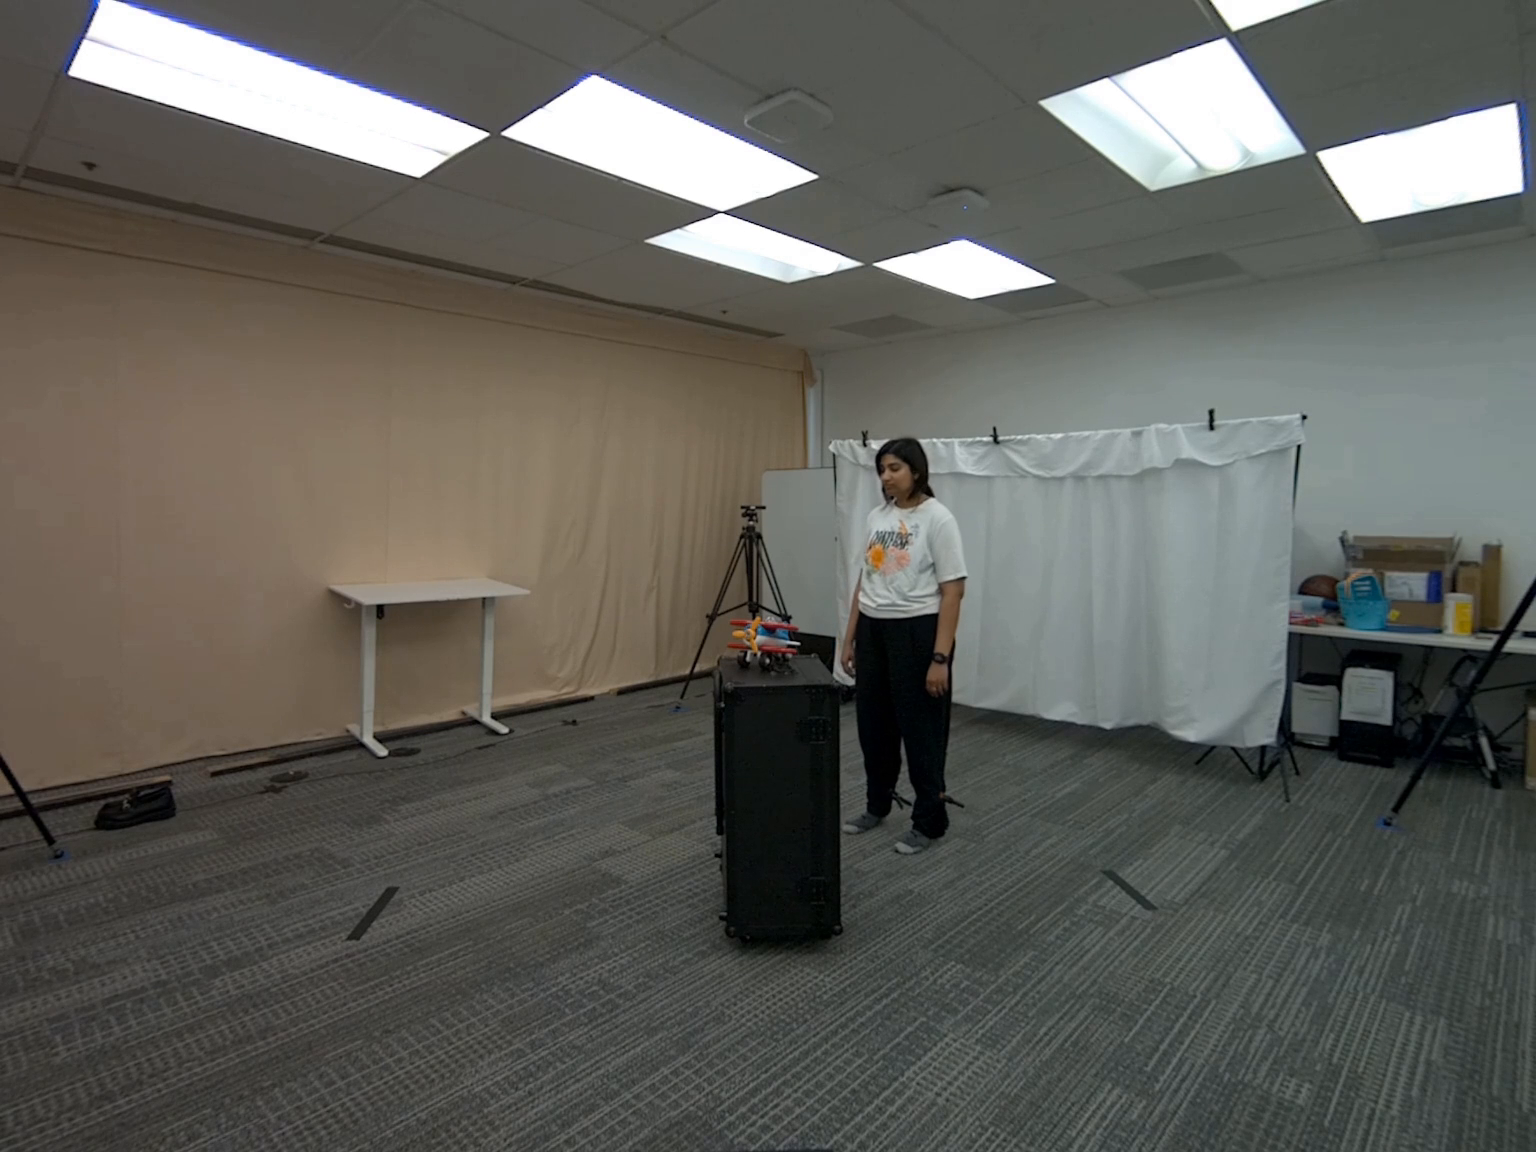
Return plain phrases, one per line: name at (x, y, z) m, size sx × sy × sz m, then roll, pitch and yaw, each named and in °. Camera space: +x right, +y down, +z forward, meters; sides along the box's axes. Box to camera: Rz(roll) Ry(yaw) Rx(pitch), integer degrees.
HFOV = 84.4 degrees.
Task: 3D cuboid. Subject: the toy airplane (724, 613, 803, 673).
toy airplane at (-0.011, 0.222, 2.889) m, size 0.252 × 0.156 × 0.258 m, roll 0°, pitch 5°, yaw 4°
